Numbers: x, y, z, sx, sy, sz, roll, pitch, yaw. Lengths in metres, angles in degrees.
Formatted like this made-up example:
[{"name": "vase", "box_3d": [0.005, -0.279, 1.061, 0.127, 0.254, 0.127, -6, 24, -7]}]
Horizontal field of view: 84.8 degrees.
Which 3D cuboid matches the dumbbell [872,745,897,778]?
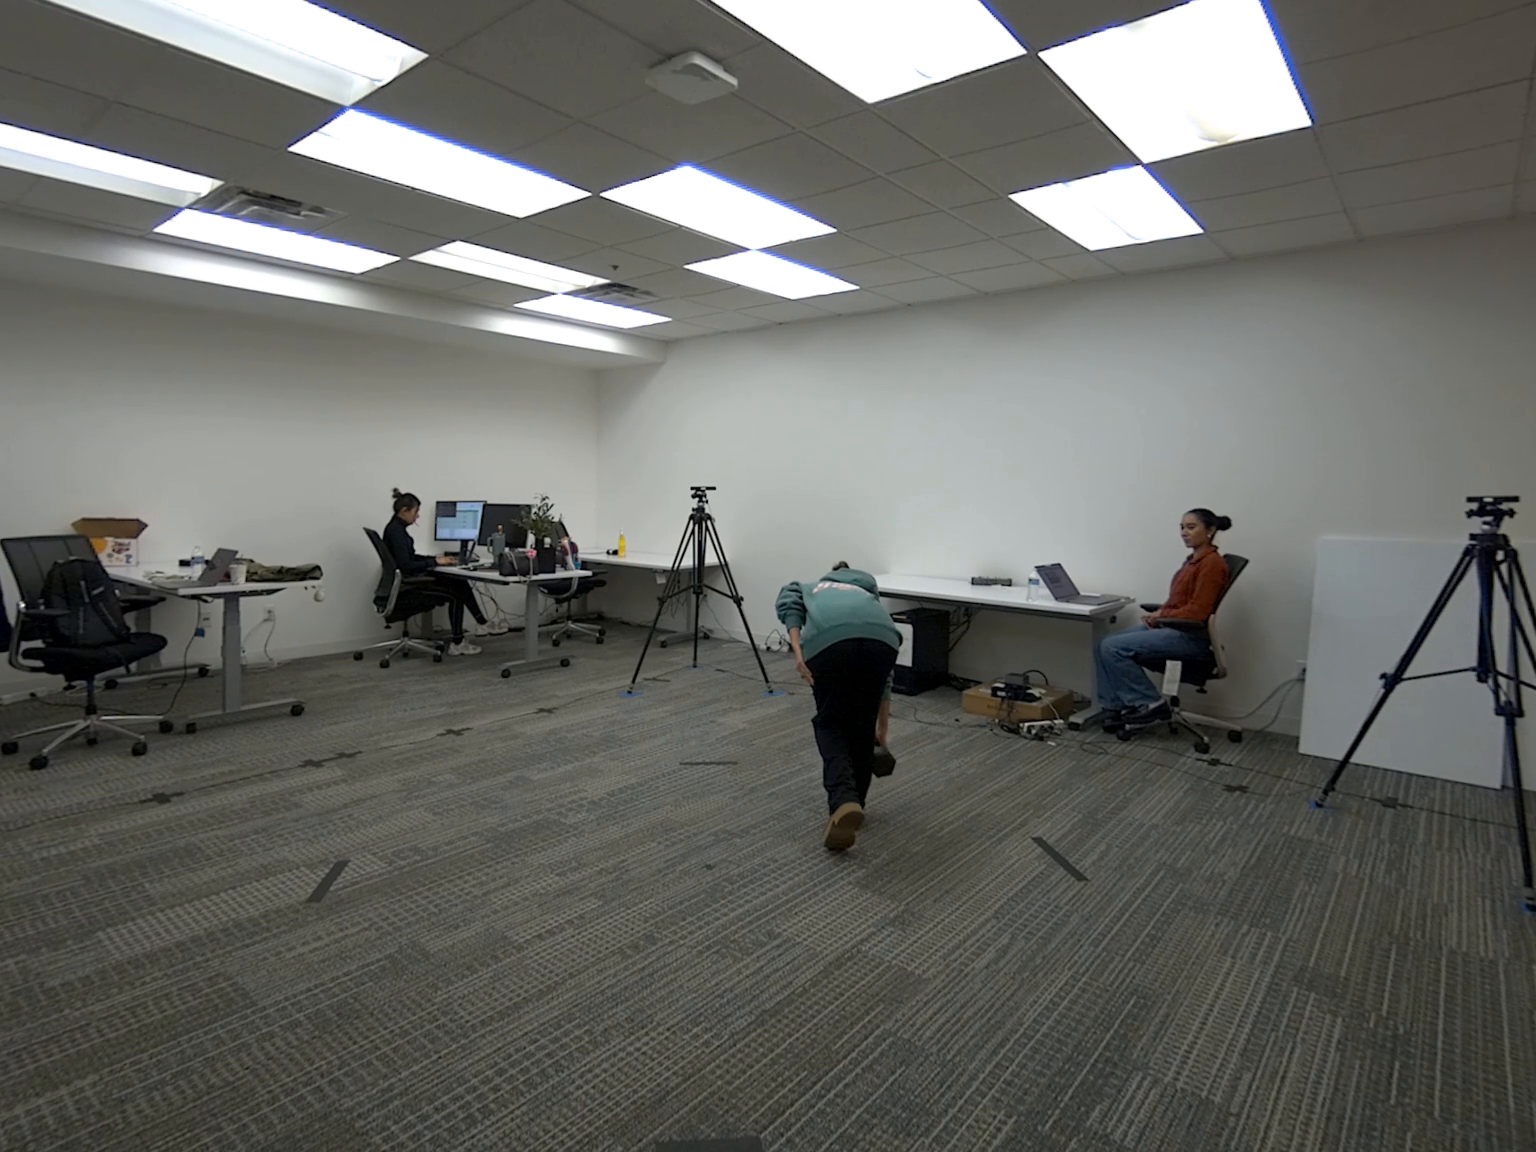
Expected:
[{"name": "dumbbell", "box_3d": [0.450, 0.749, 3.666, 0.107, 0.122, 0.298, 18, 7, -10]}]
